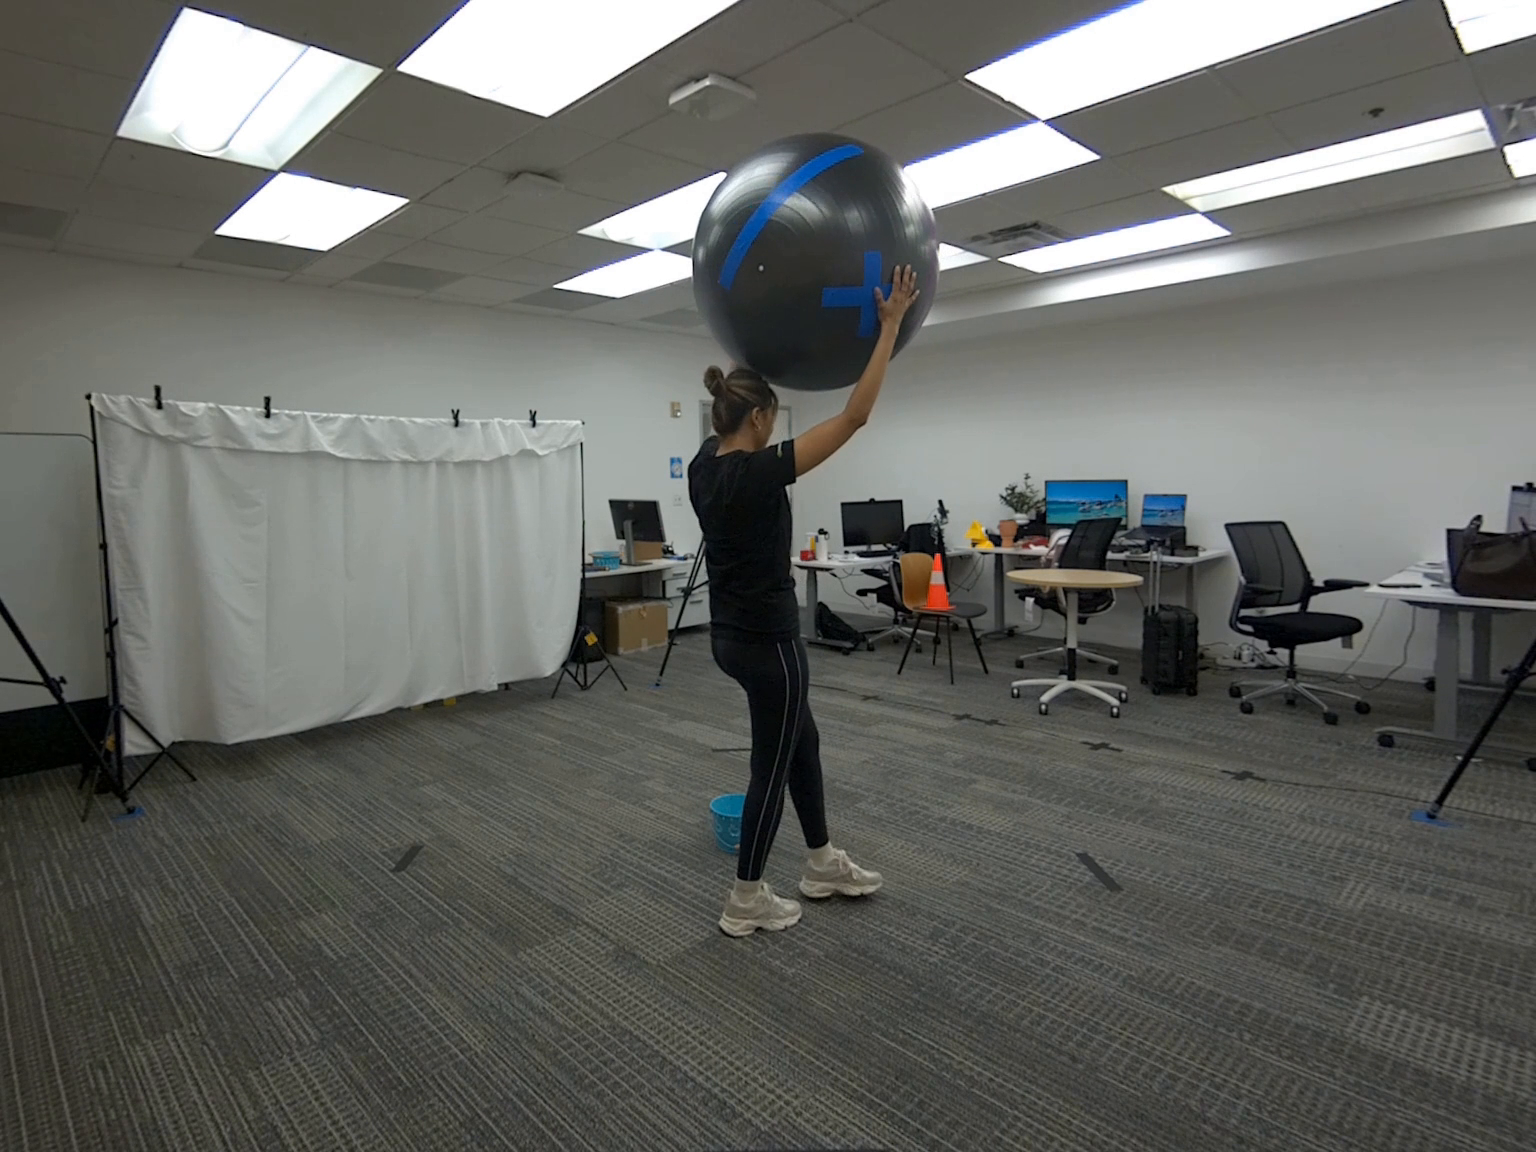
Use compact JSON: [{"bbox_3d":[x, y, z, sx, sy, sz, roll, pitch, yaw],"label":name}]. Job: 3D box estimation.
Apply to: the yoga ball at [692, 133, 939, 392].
[{"bbox_3d":[0.145,-0.950,2.632,0.757,0.755,0.762,-1,5,-2],"label":"yoga ball"}]
